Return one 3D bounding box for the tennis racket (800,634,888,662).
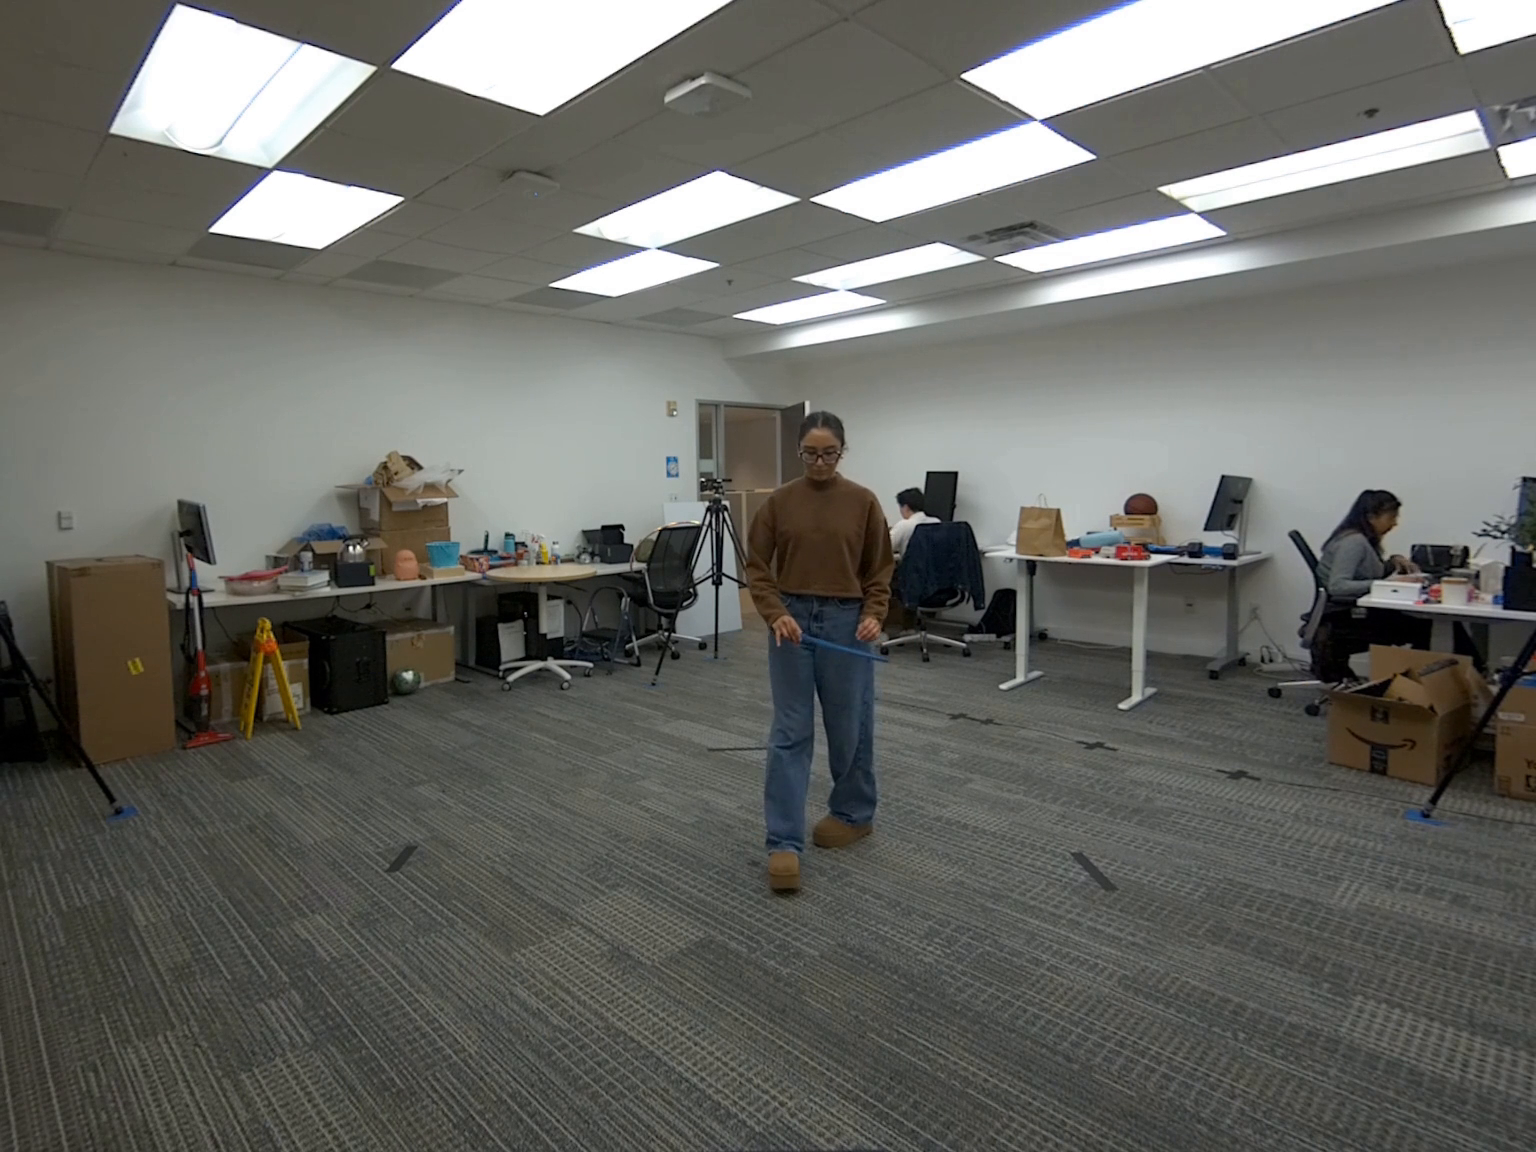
[{"bbox_3d":[0.243,0.238,2.866,0.207,0.032,0.446,14,1,-31],"label":"tennis racket"}]
